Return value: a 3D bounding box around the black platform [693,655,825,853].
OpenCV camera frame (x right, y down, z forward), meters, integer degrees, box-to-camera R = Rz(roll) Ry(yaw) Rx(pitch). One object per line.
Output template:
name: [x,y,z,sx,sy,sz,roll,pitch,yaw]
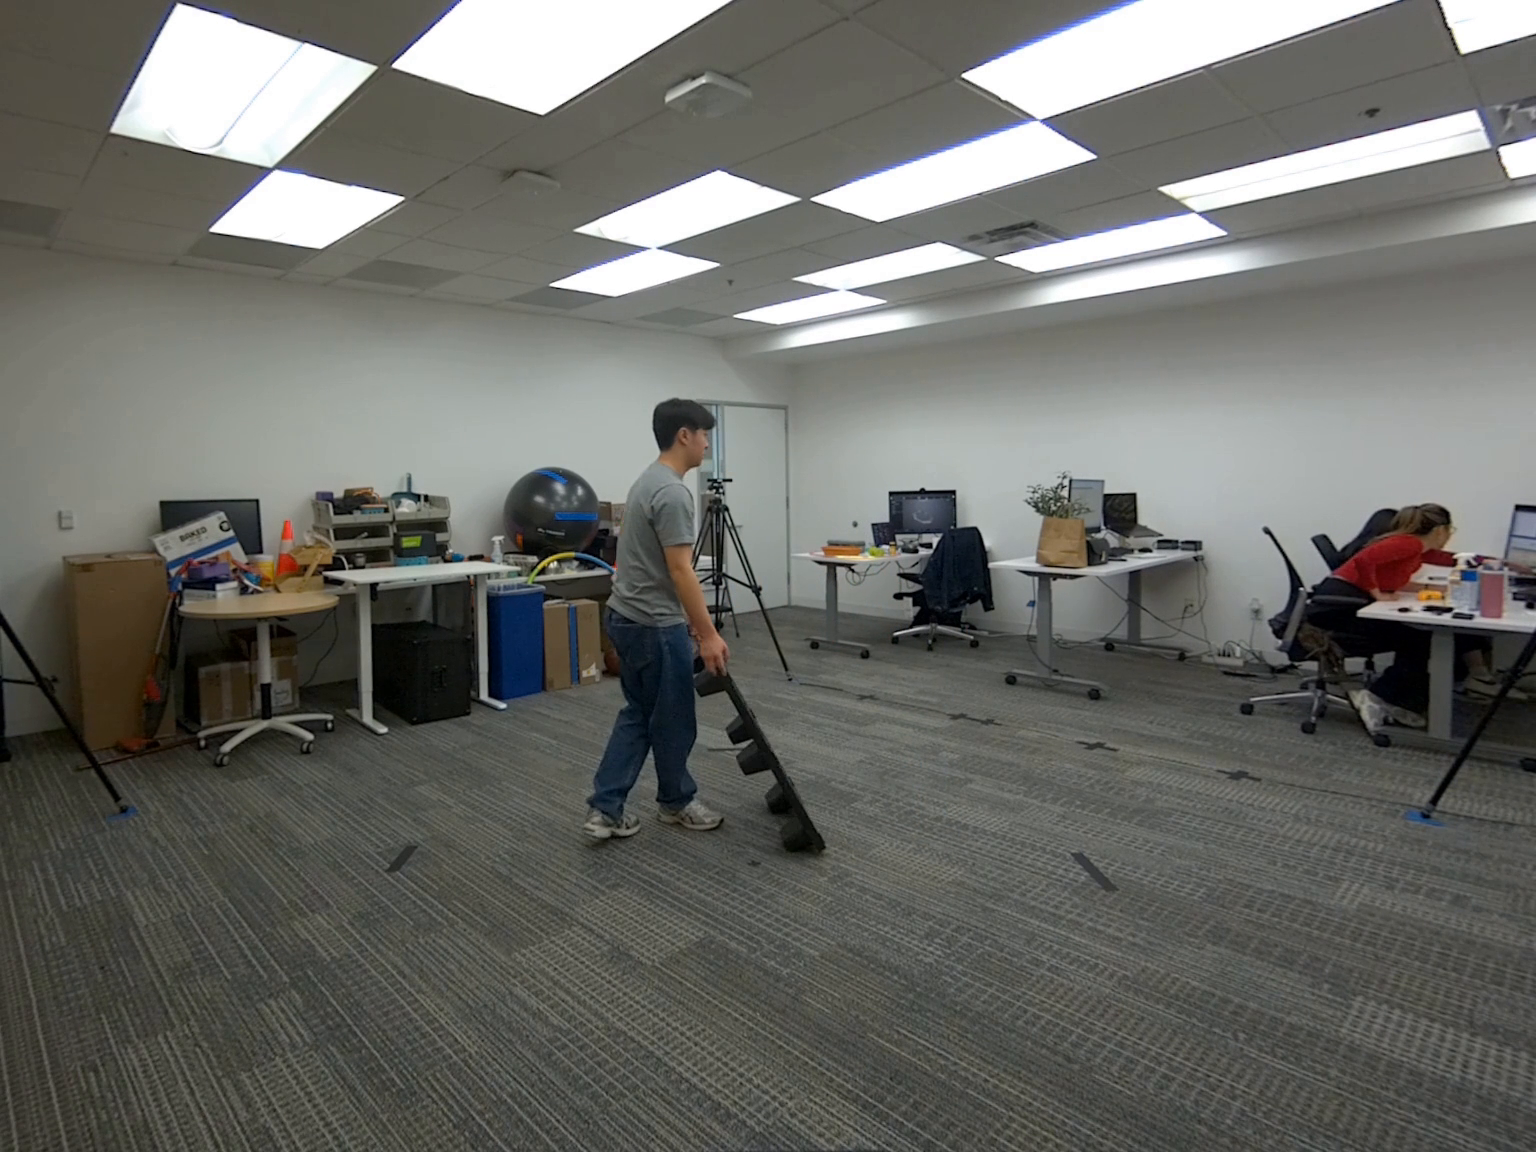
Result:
black platform: [-0.072,0.662,3.393,0.143,0.799,0.611,-29,7,-4]
